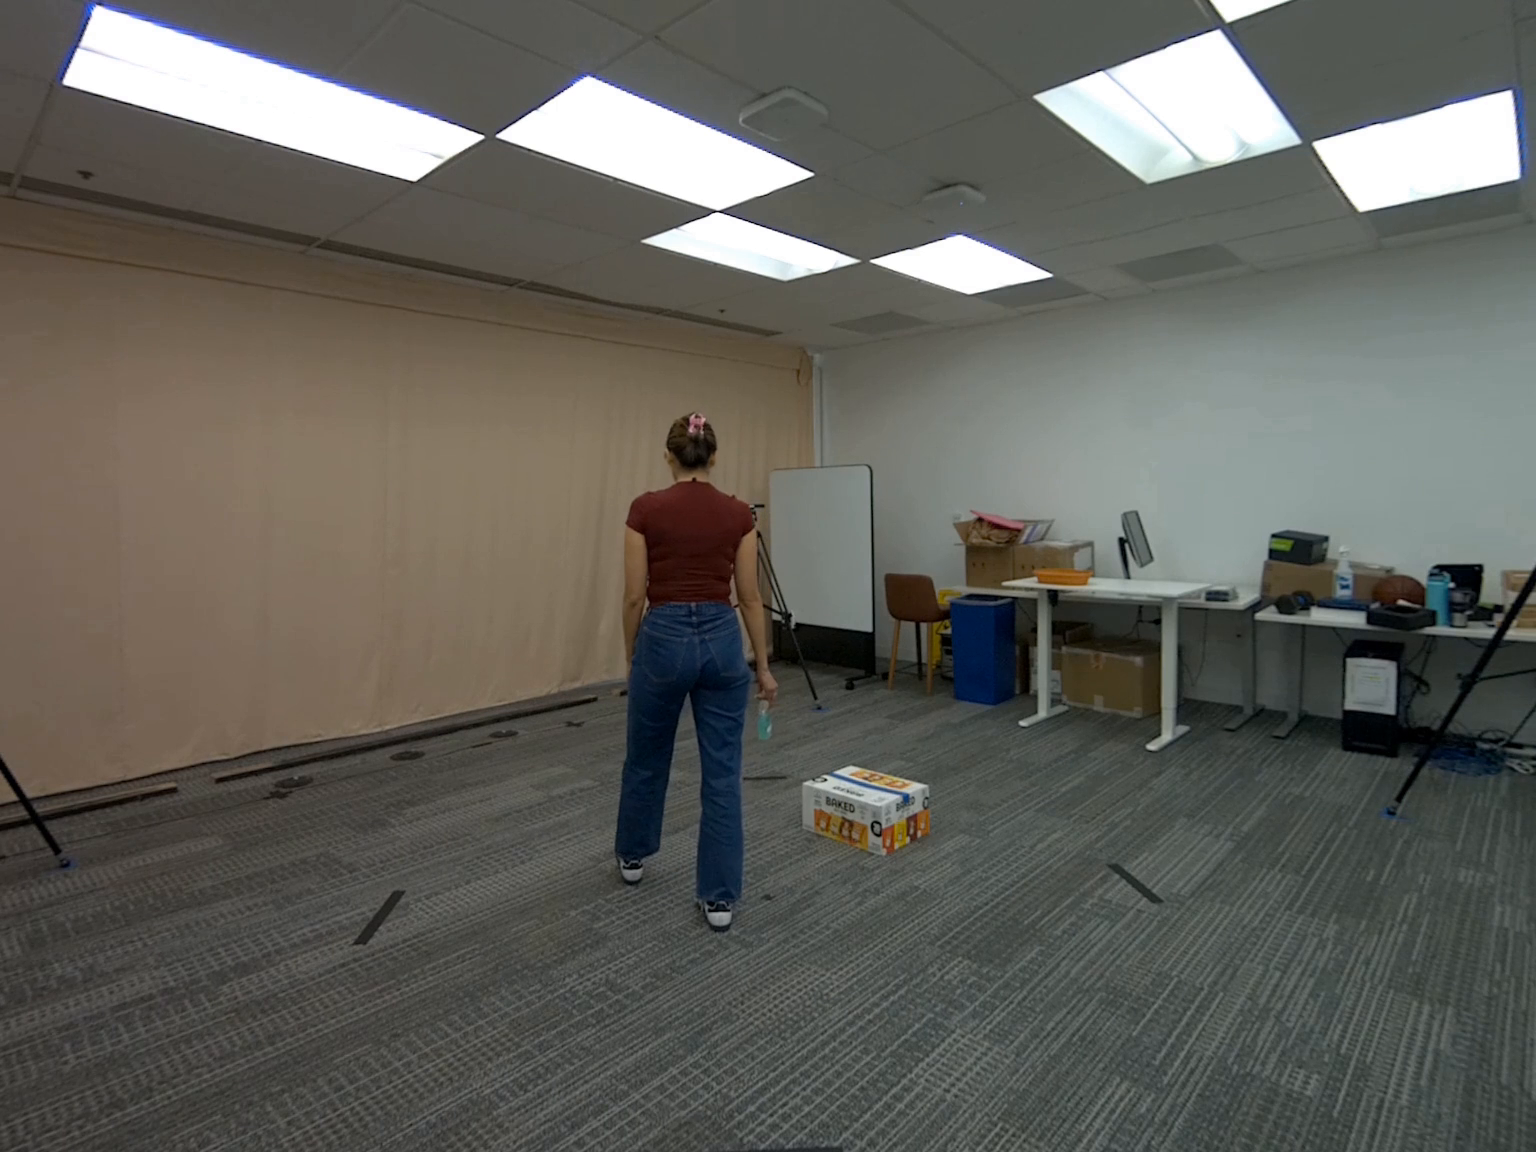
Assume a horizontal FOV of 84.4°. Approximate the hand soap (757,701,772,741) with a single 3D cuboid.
[{"bbox_3d":[-0.010,0.496,3.015,0.044,0.167,0.084,0,12,5],"label":"hand soap"}]
